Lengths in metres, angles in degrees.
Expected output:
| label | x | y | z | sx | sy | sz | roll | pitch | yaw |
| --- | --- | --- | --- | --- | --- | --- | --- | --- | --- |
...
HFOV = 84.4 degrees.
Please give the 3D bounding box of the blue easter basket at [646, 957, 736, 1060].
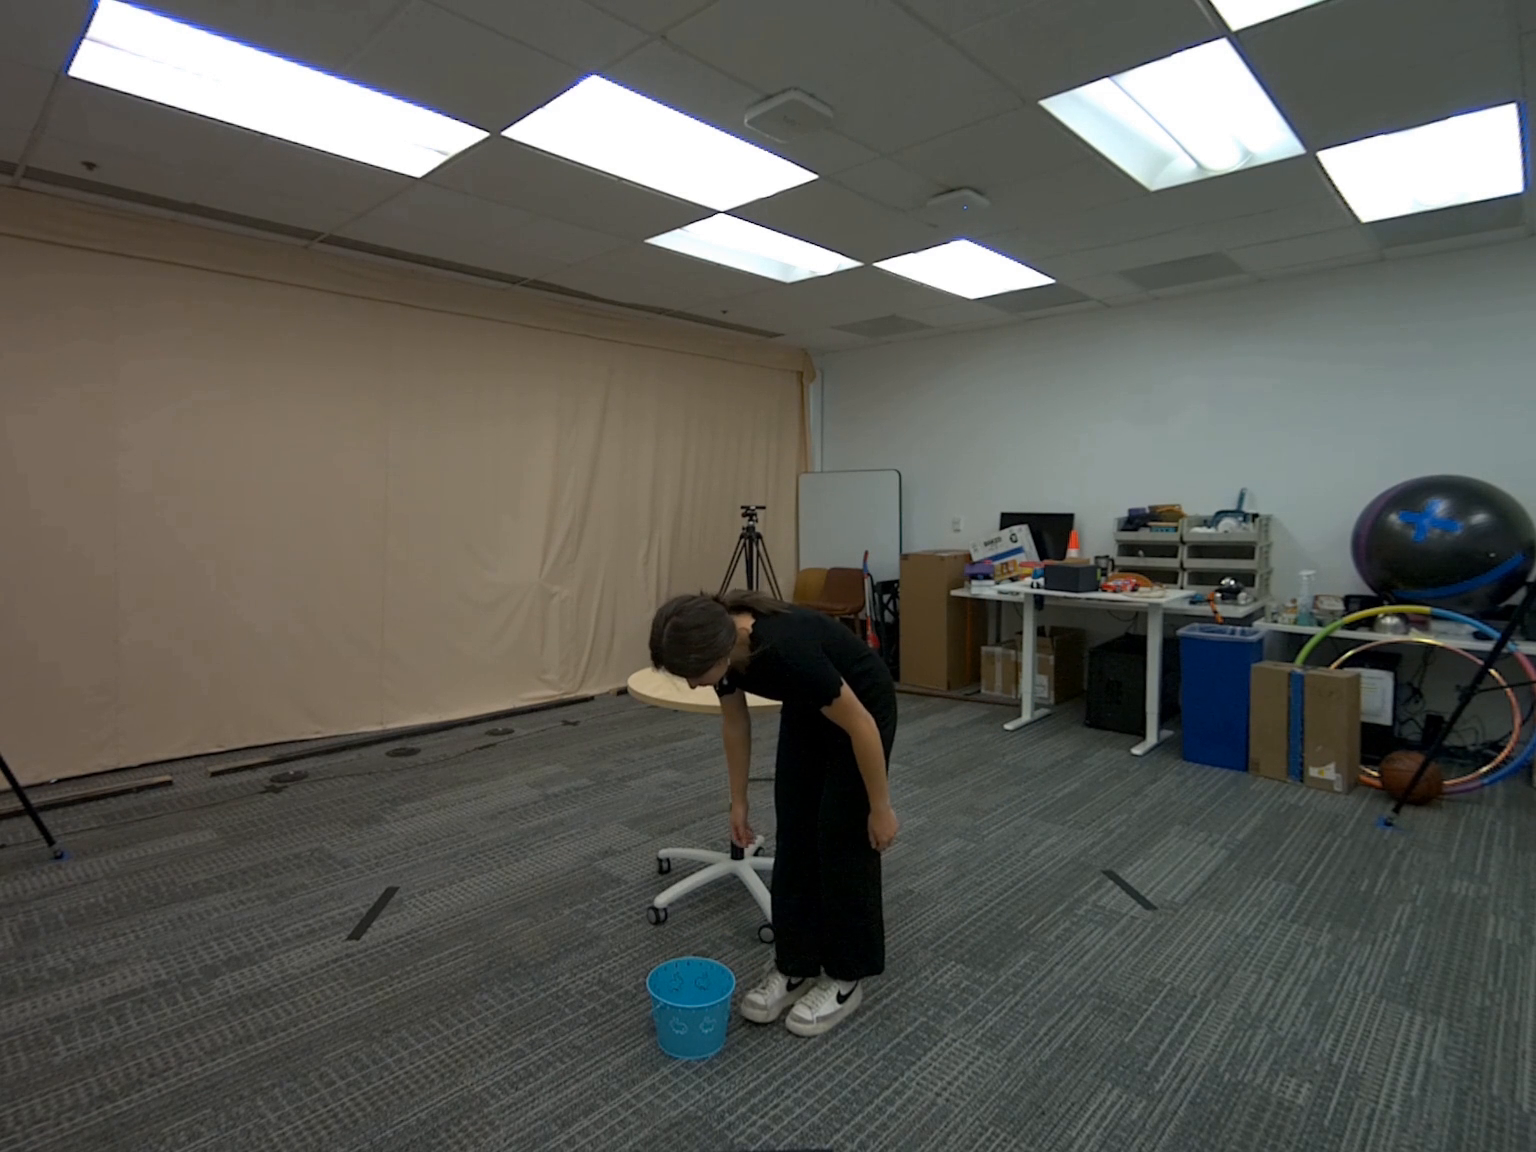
| label | x | y | z | sx | sy | sz | roll | pitch | yaw |
| --- | --- | --- | --- | --- | --- | --- | --- | --- | --- |
| blue easter basket | -0.191 | 1.137 | 2.204 | 0.243 | 0.155 | 0.244 | 0 | 4 | -2 |
